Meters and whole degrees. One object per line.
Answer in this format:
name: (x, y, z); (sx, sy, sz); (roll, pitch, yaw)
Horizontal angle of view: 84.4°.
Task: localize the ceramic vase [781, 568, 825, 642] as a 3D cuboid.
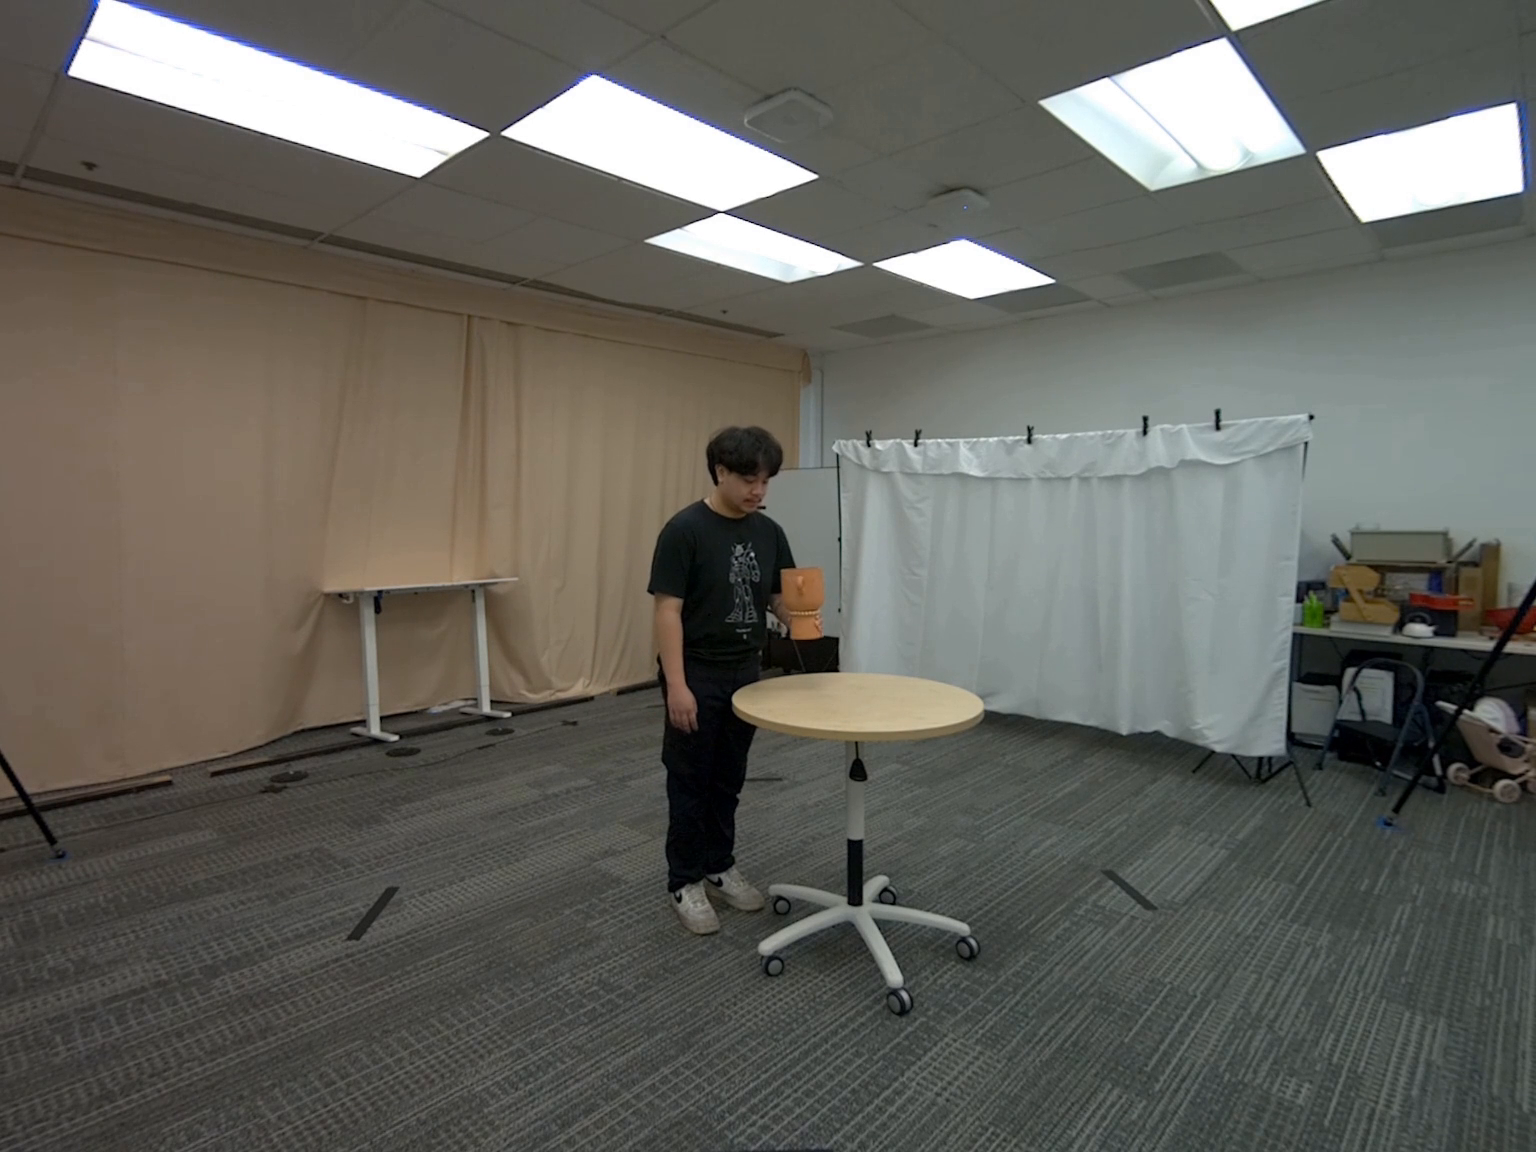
ceramic vase: (0.118, 0.090, 2.671); (0.154, 0.219, 0.139); (-4, 2, -43)
